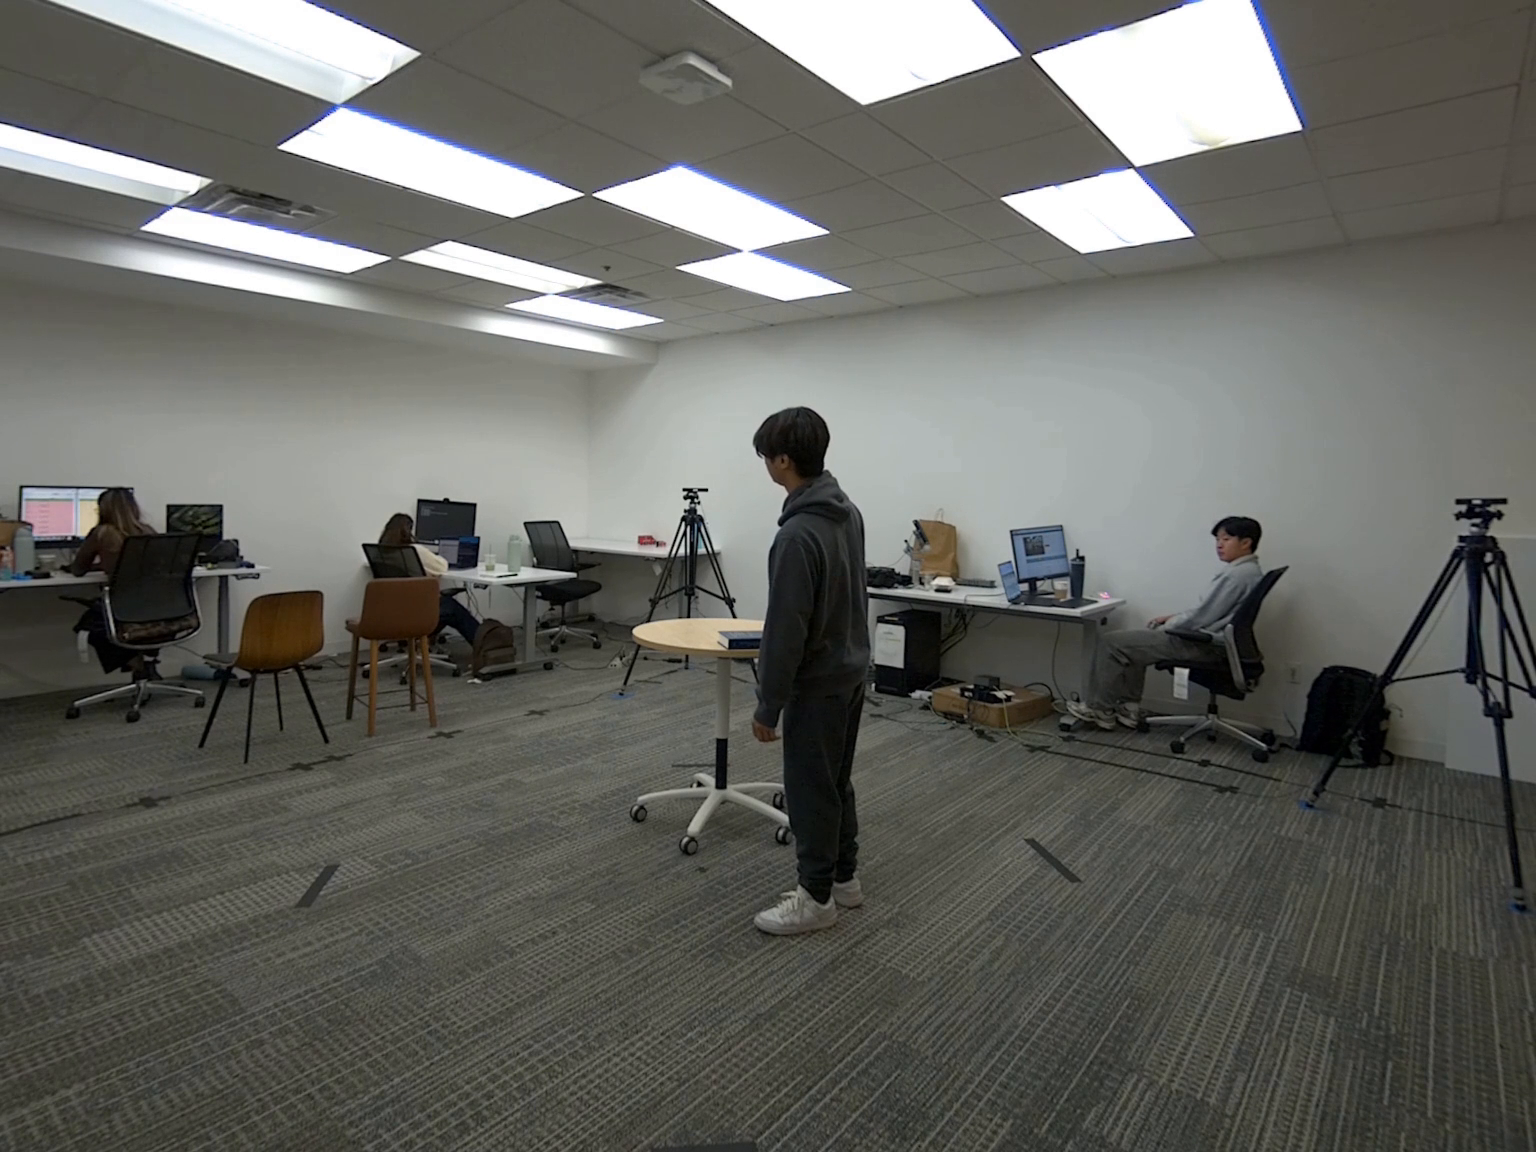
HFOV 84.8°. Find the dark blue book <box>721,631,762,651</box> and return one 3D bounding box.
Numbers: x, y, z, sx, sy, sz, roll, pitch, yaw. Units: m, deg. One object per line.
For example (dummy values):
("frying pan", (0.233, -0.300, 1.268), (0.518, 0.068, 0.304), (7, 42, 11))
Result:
("dark blue book", (-0.064, 0.242, 3.270), (0.241, 0.045, 0.167), (0, 6, -16))
